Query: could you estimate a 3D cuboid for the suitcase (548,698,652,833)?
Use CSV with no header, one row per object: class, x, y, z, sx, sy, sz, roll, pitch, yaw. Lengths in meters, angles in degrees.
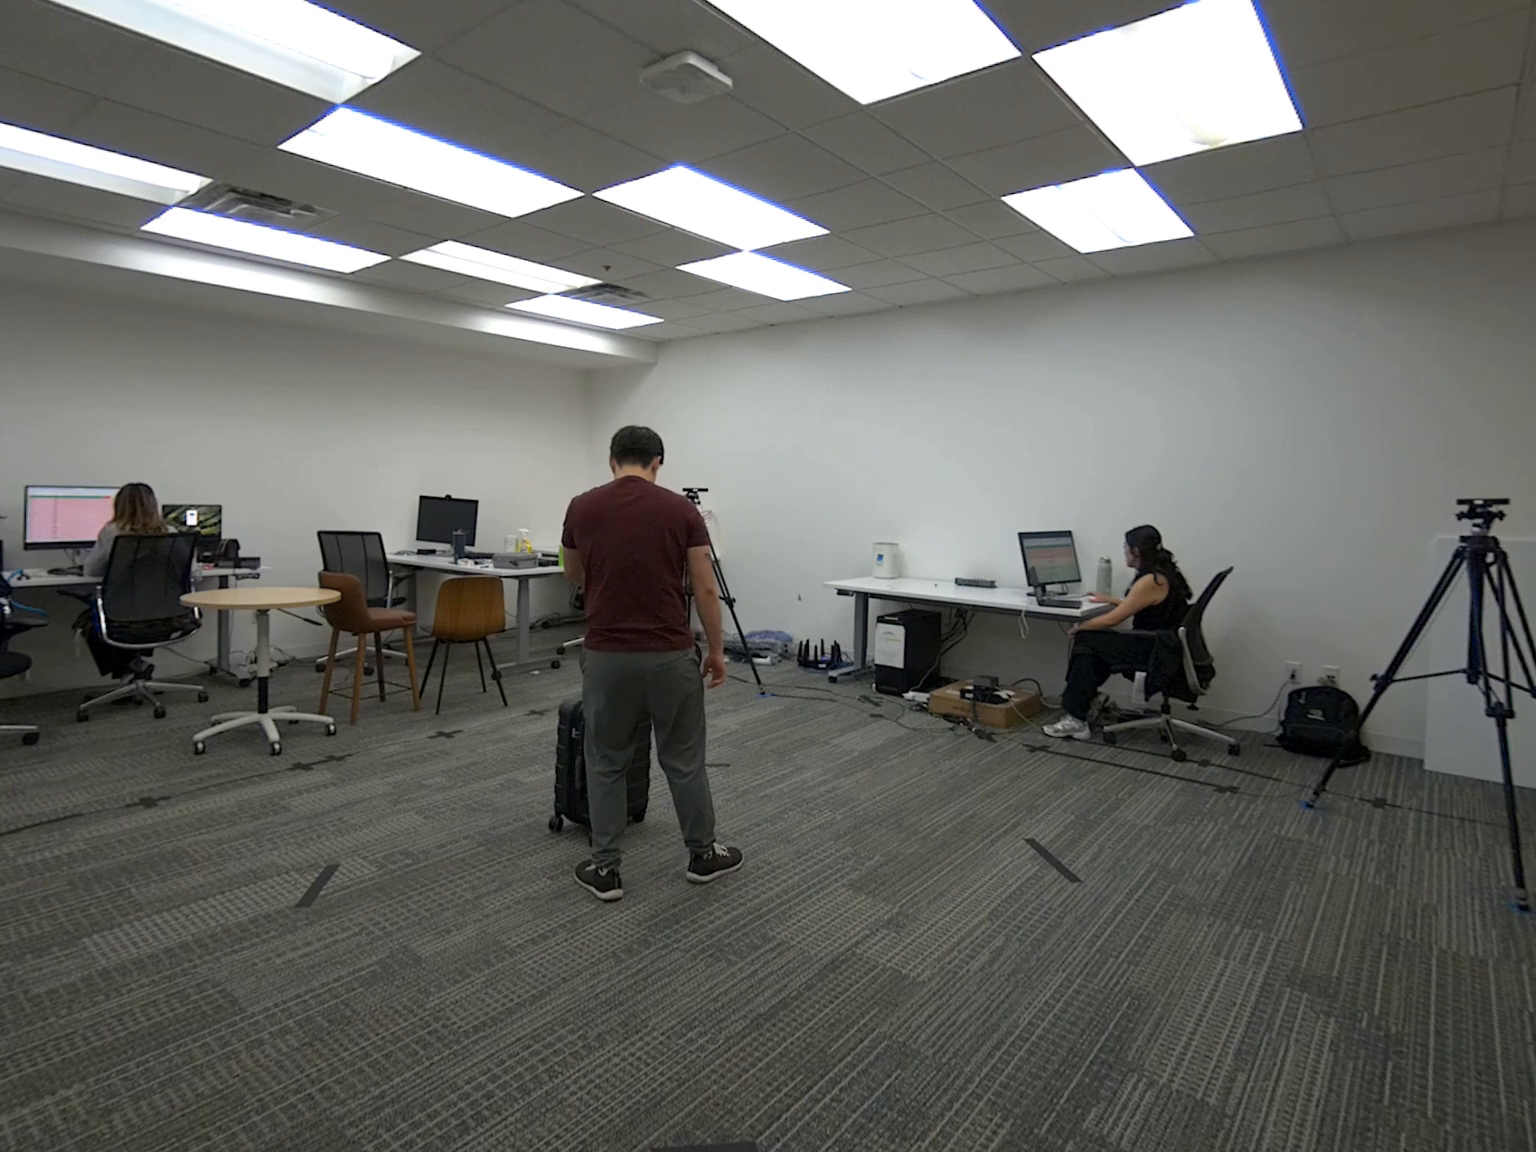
suitcase,-0.691,0.550,3.492,0.265,0.979,0.372,1,0,34
